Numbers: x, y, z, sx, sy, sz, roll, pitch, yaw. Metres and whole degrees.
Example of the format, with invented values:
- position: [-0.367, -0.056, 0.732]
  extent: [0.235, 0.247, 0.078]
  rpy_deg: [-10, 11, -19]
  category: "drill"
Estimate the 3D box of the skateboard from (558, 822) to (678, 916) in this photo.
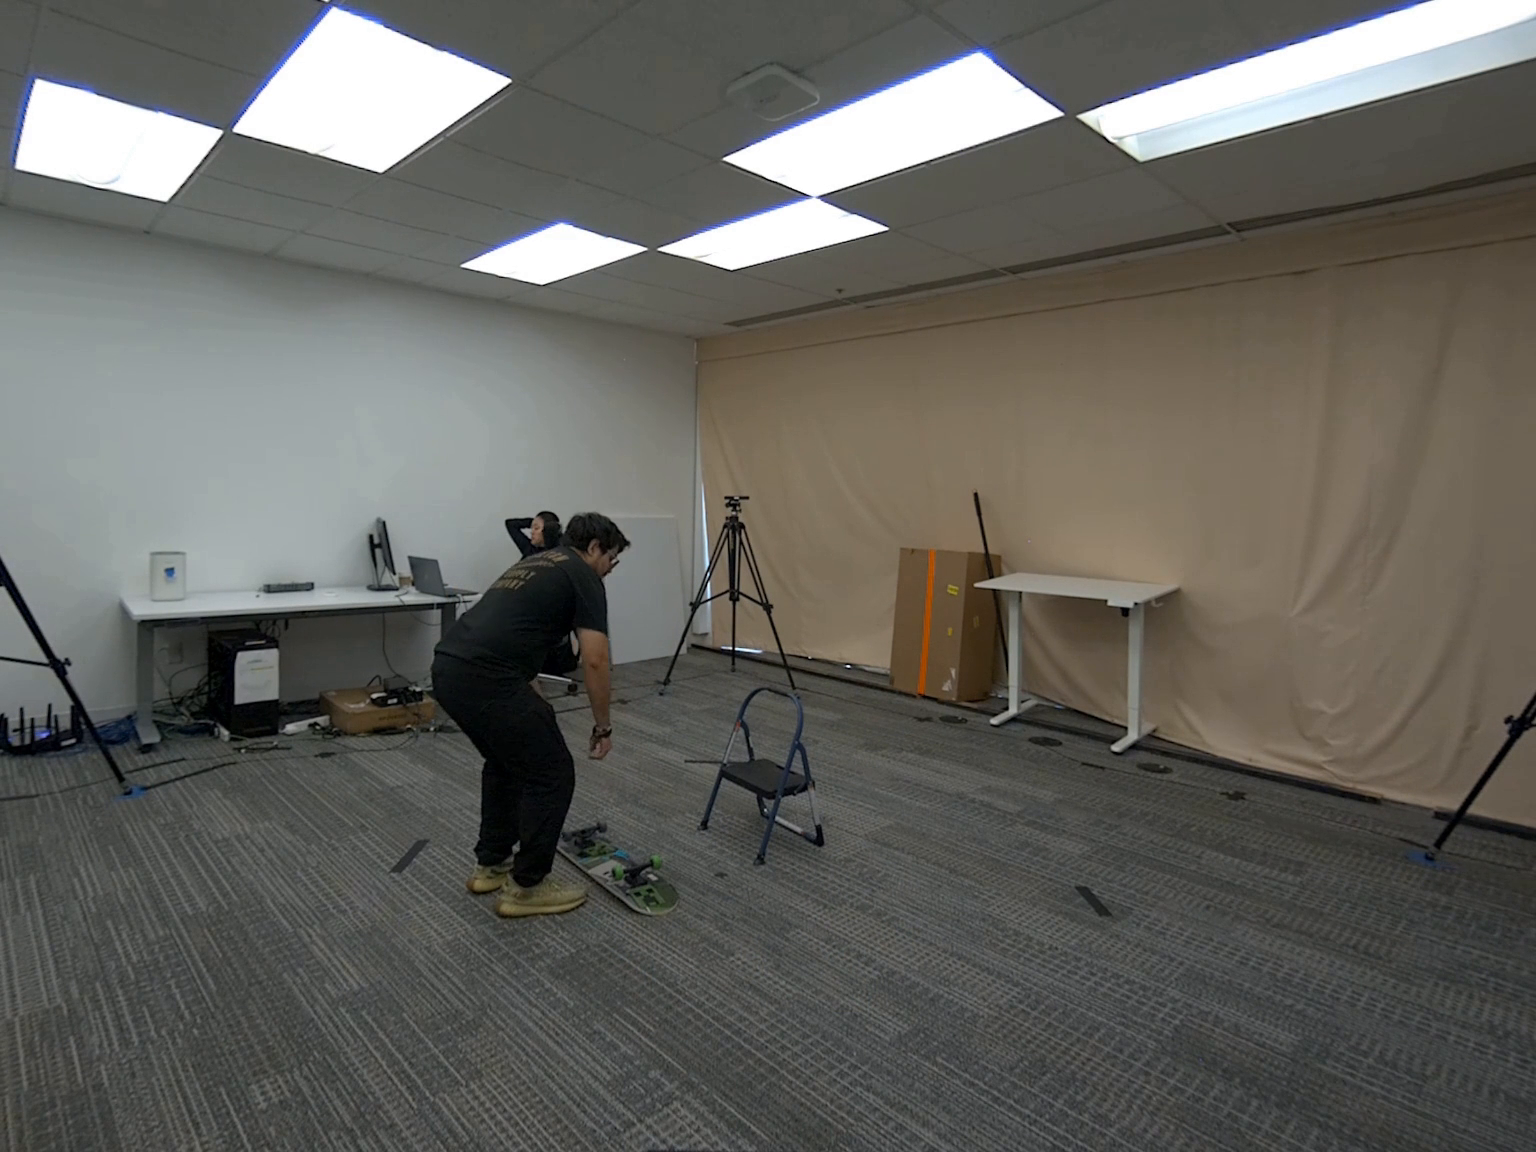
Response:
- position: [-0.597, 1.047, 3.117]
  extent: [0.189, 0.110, 0.805]
  rpy_deg: [-3, 7, -38]
  category: "skateboard"
